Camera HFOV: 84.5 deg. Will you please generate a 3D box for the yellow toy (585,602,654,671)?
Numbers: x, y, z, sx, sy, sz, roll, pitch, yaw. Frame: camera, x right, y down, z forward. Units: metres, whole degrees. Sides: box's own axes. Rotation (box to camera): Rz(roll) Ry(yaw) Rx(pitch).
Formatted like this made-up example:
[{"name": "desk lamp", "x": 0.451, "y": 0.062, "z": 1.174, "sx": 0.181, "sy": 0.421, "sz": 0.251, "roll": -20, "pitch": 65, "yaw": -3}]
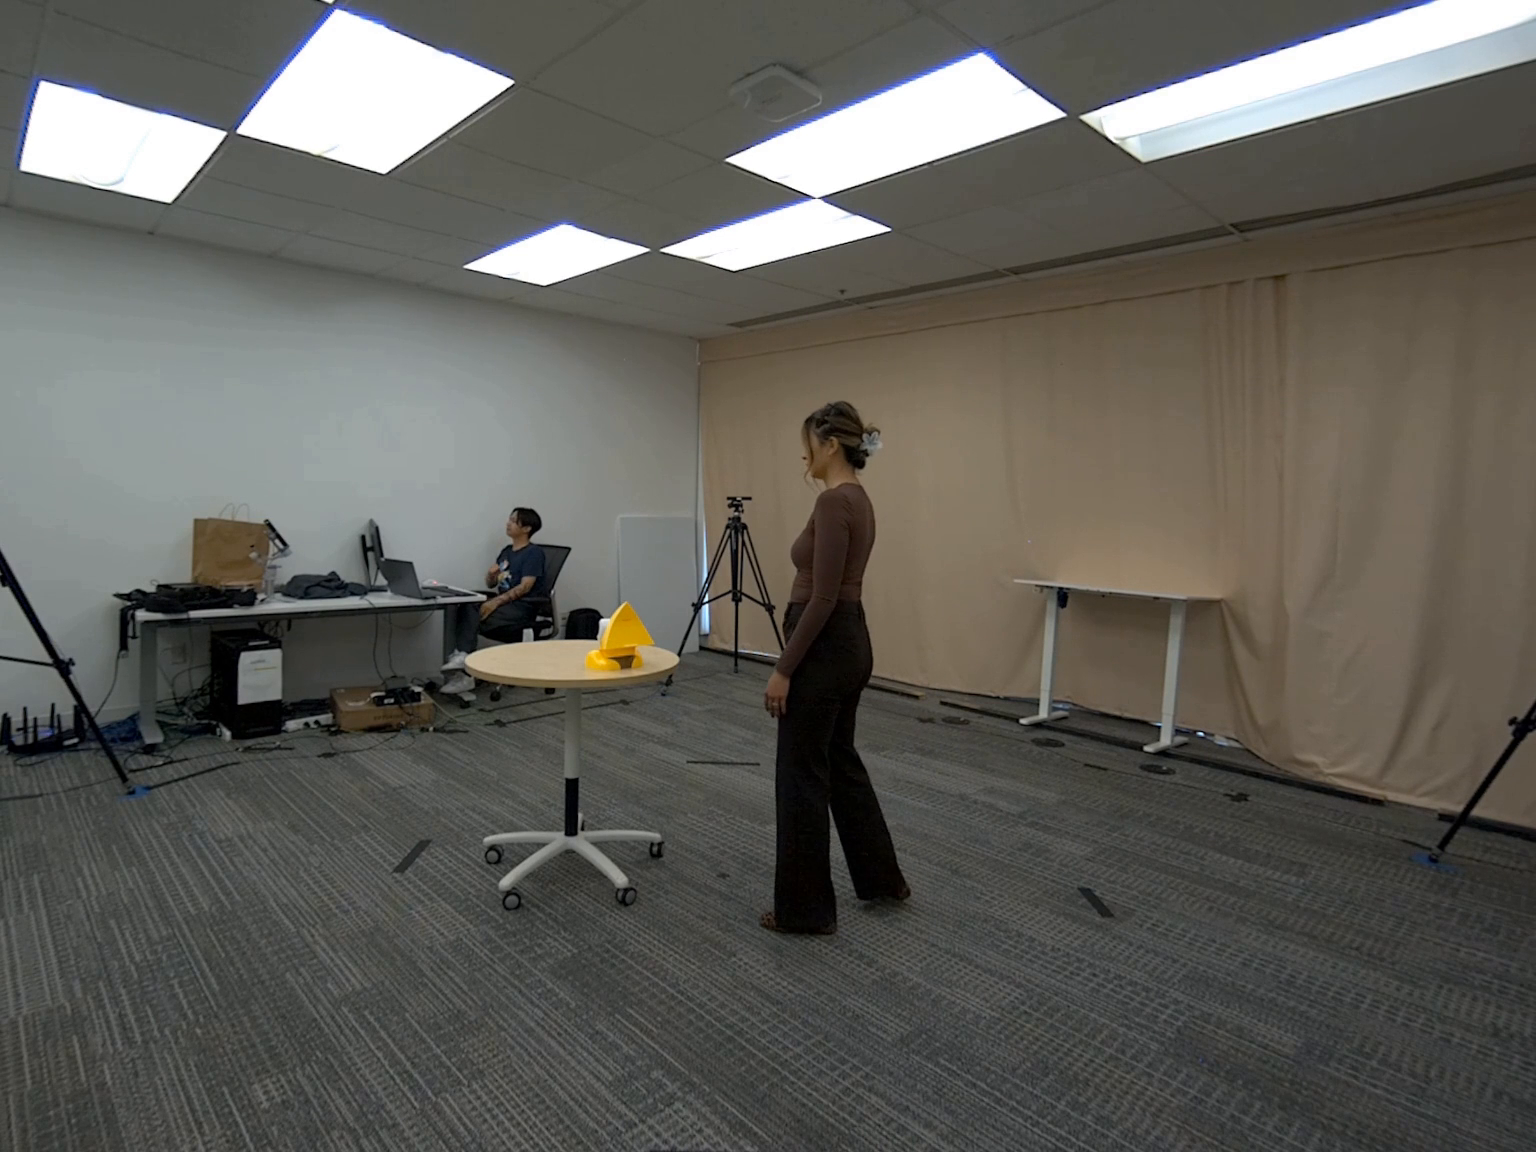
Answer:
[{"name": "yellow toy", "x": -0.534, "y": 0.200, "z": 2.948, "sx": 0.200, "sy": 0.230, "sz": 0.198, "roll": -2, "pitch": 5, "yaw": -41}]
